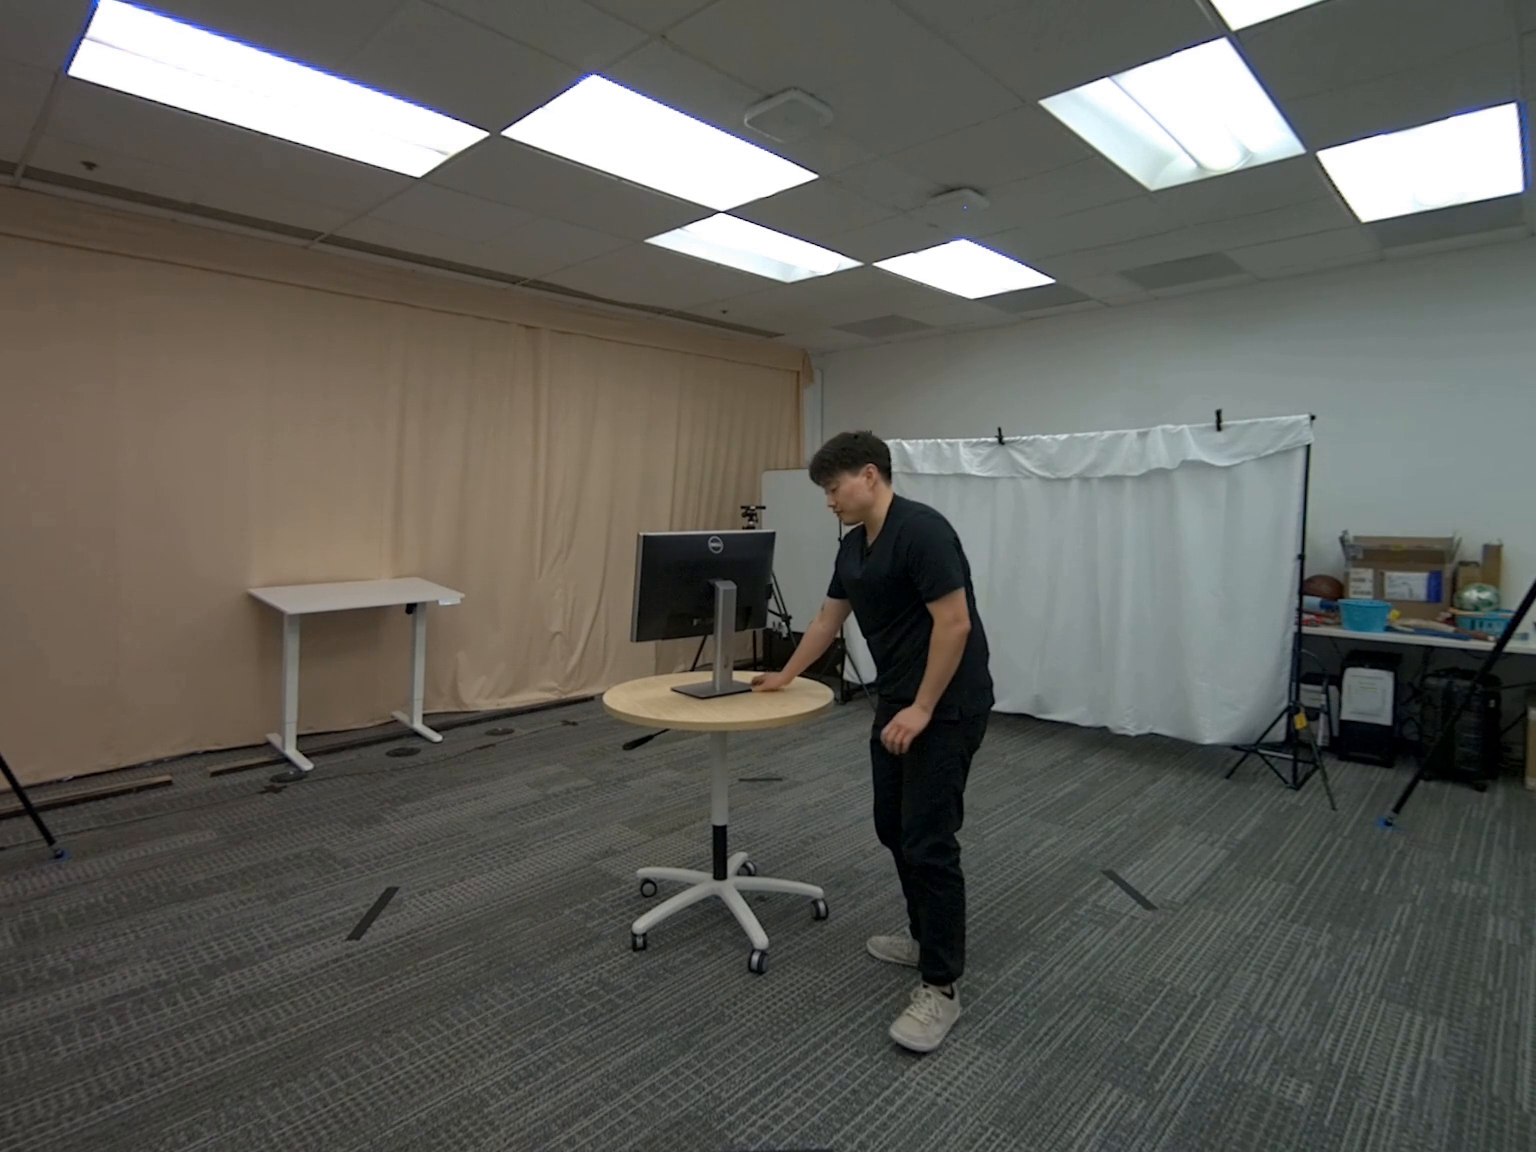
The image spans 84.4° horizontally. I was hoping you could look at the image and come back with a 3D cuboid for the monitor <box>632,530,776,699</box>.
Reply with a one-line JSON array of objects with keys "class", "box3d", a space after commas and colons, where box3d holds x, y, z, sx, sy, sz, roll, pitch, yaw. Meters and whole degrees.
[{"class": "monitor", "box3d": [-0.181, 0.125, 2.841, 0.523, 0.522, 0.193, -3, 2, -39]}]
